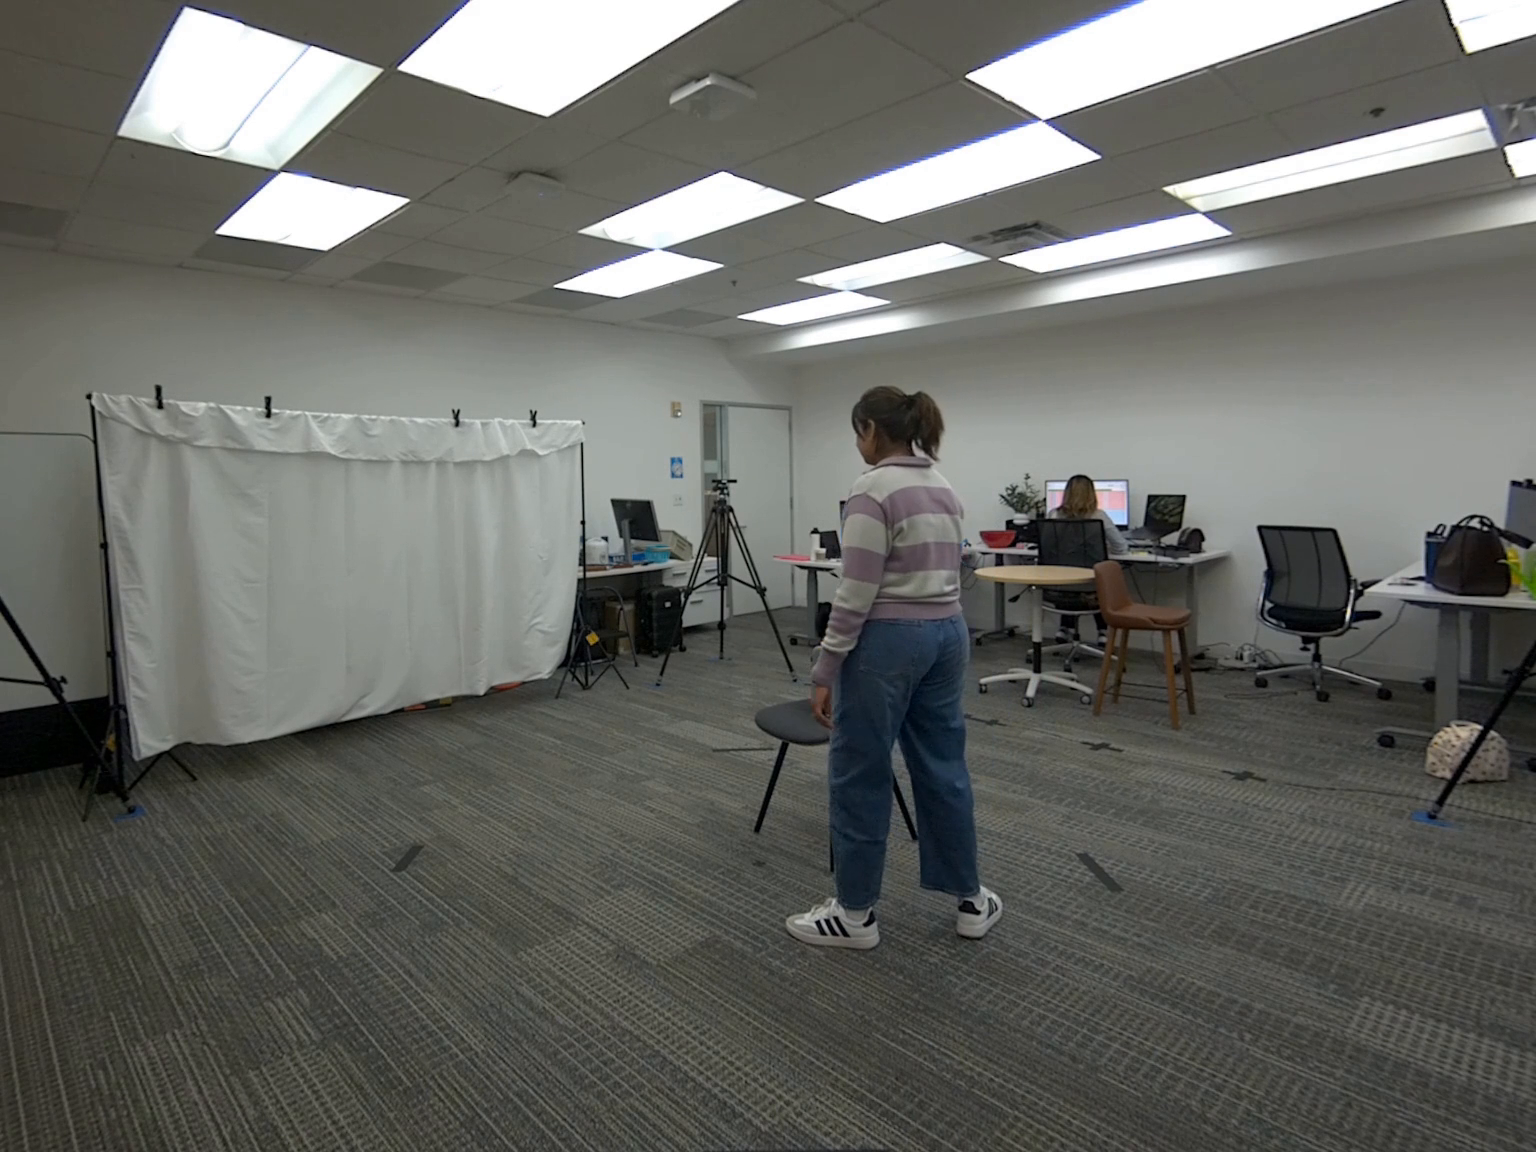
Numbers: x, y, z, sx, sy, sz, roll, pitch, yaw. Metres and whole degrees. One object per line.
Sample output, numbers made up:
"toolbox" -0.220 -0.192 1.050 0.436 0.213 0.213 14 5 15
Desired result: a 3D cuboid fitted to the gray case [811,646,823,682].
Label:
"gray case" 0.317 0.408 3.384 0.260 0.262 0.102 1 -6 11
